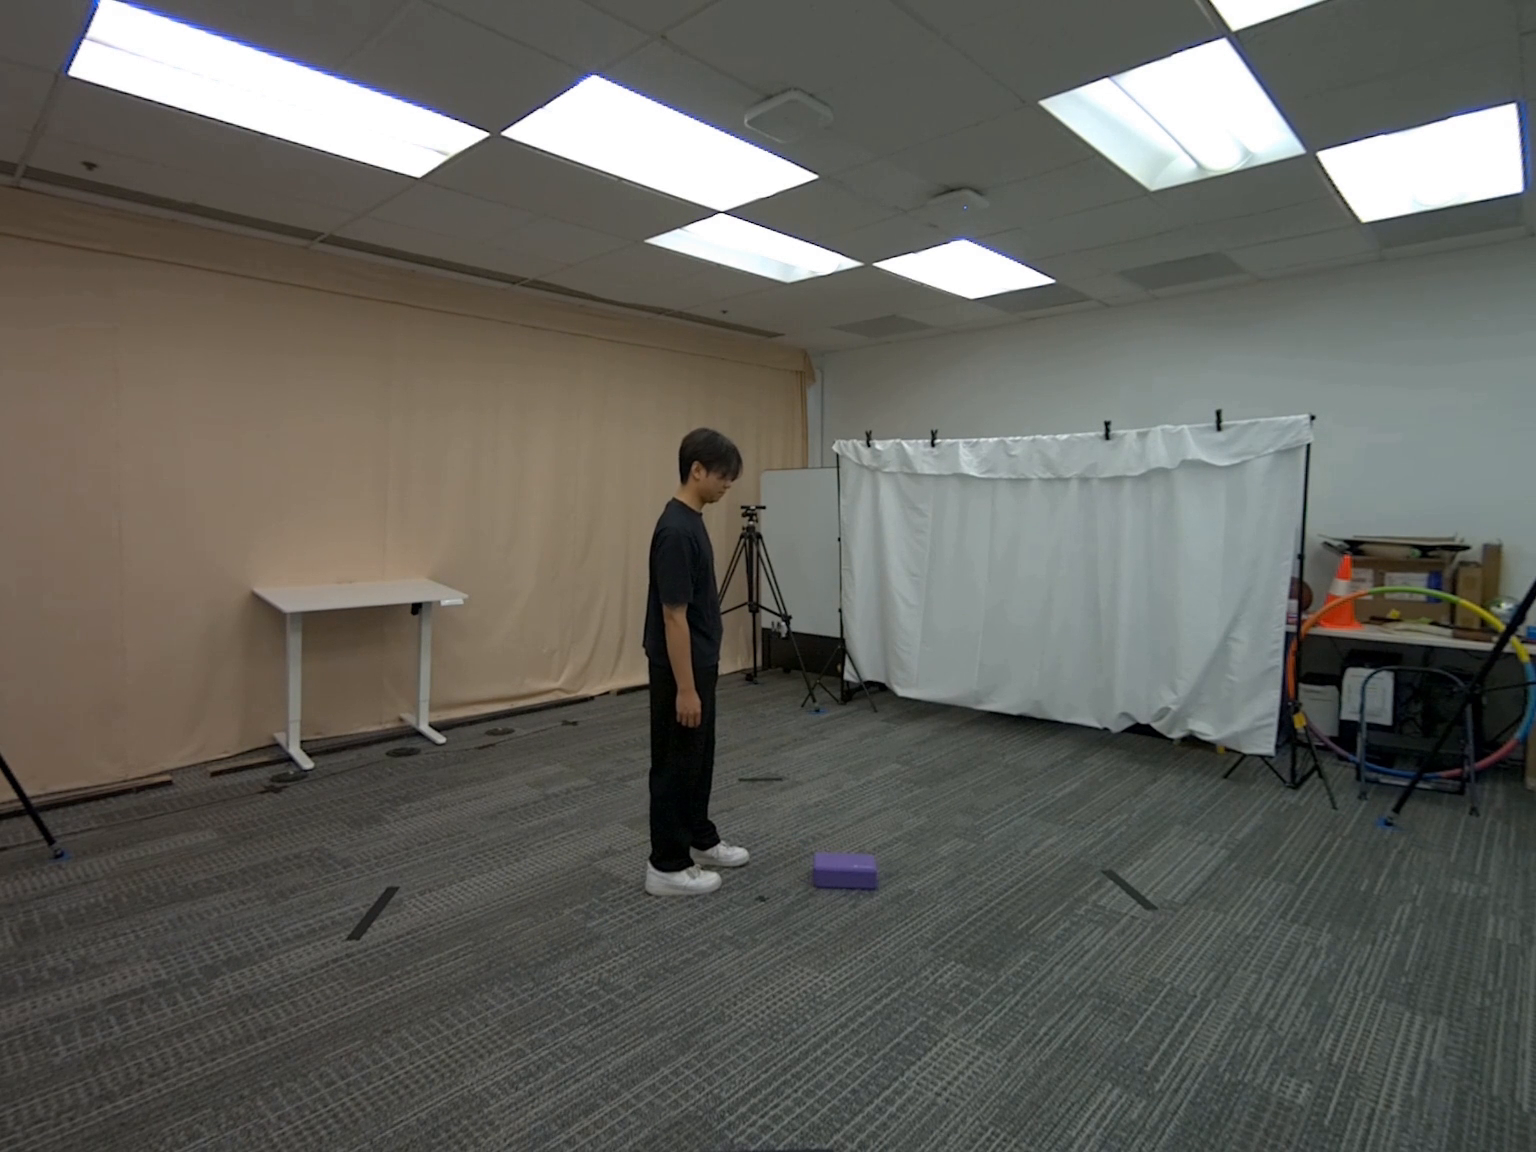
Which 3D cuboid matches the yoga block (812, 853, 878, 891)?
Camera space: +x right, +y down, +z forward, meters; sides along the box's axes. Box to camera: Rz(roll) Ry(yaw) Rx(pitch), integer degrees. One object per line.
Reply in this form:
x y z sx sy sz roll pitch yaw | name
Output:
0.287 1.090 3.119 0.231 0.076 0.148 1 6 5 | yoga block
